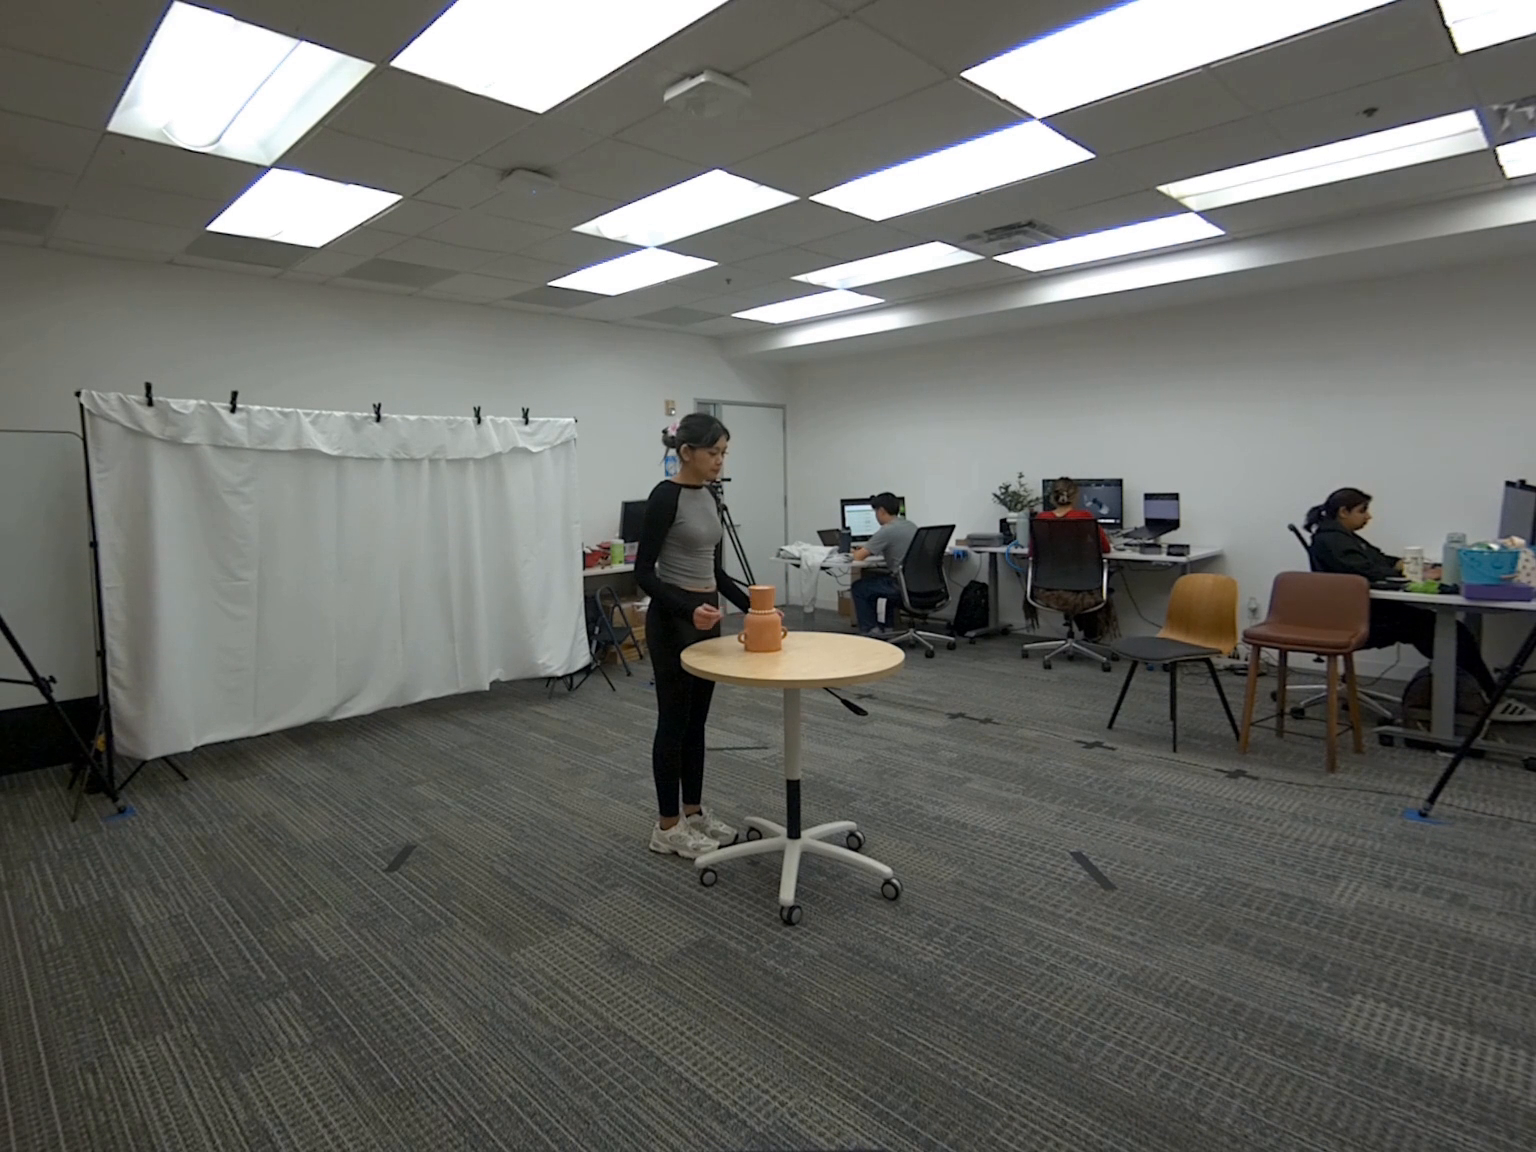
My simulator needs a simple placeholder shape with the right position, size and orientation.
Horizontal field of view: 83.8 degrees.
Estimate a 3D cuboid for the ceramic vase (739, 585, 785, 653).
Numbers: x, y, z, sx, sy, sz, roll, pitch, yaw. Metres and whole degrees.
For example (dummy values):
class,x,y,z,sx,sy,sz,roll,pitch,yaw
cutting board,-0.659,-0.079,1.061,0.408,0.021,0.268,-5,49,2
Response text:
class,x,y,z,sx,sy,sz,roll,pitch,yaw
ceramic vase,-0.024,0.149,3.013,0.137,0.219,0.156,0,5,22
